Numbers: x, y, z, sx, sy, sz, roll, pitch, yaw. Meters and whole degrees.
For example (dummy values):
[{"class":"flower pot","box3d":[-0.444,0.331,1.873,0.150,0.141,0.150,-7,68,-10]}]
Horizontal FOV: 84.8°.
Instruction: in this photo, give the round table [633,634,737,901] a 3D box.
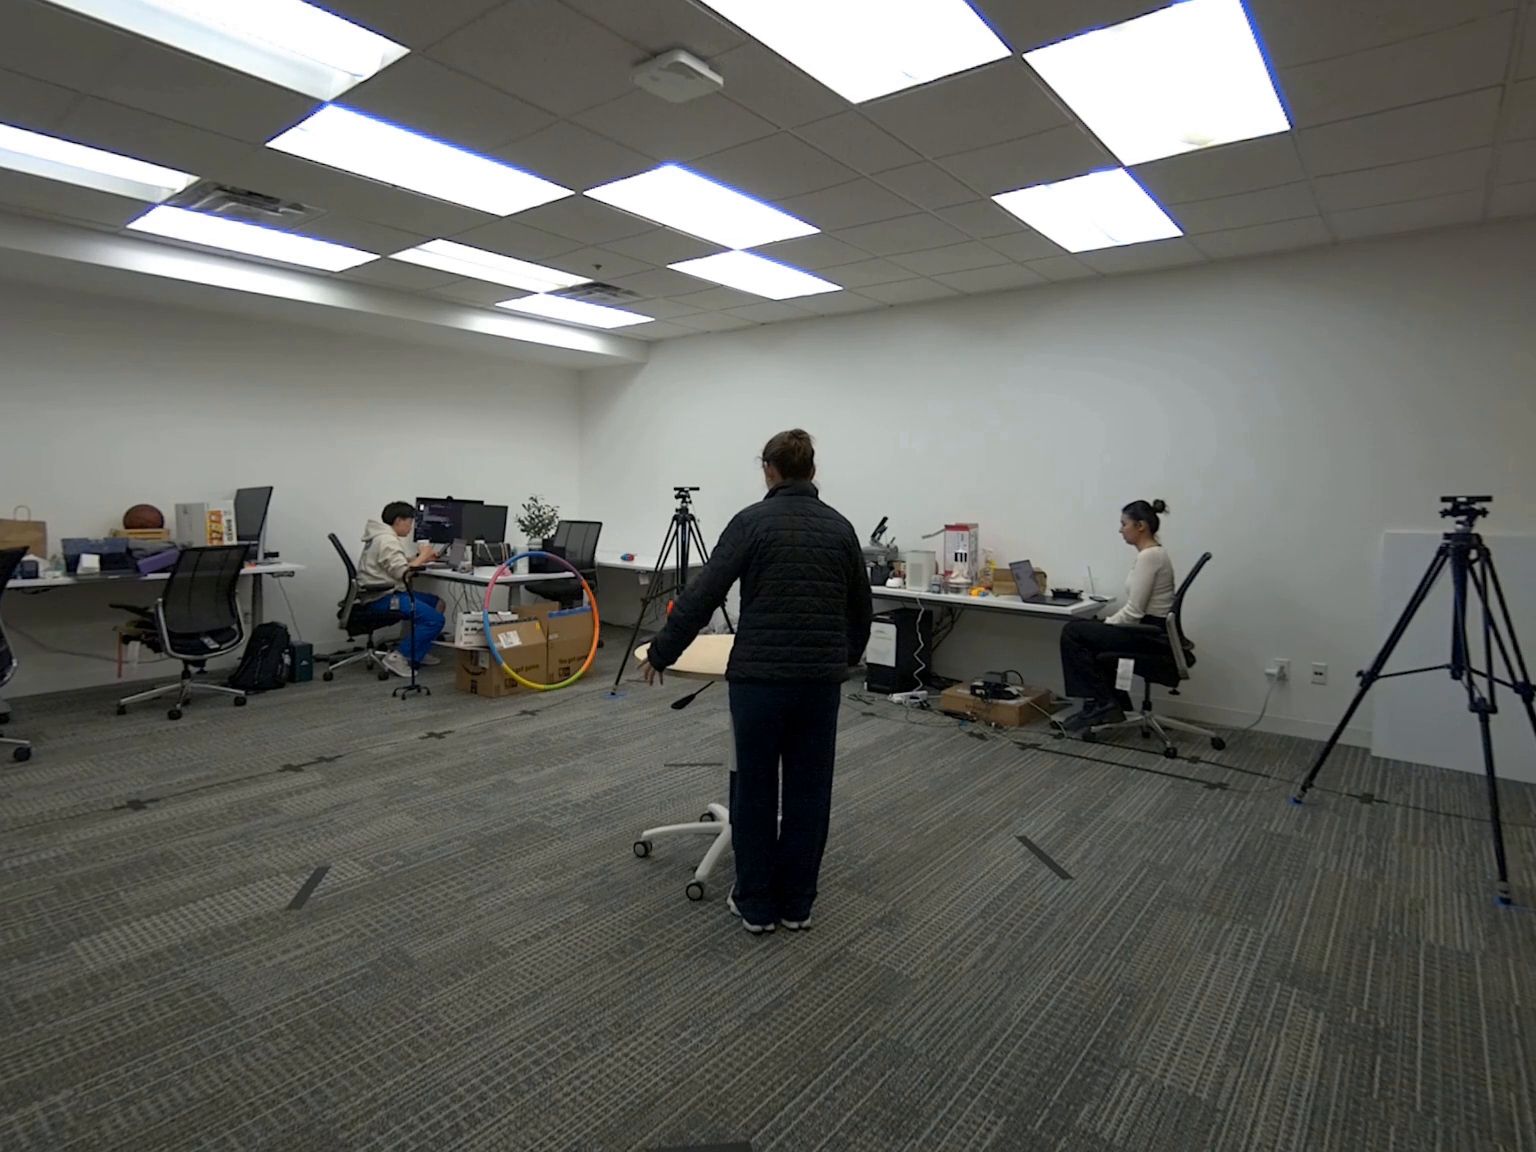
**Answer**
[{"class":"round table","box3d":[-0.092,0.664,3.170,0.784,0.784,0.789,1,4,-2]}]
